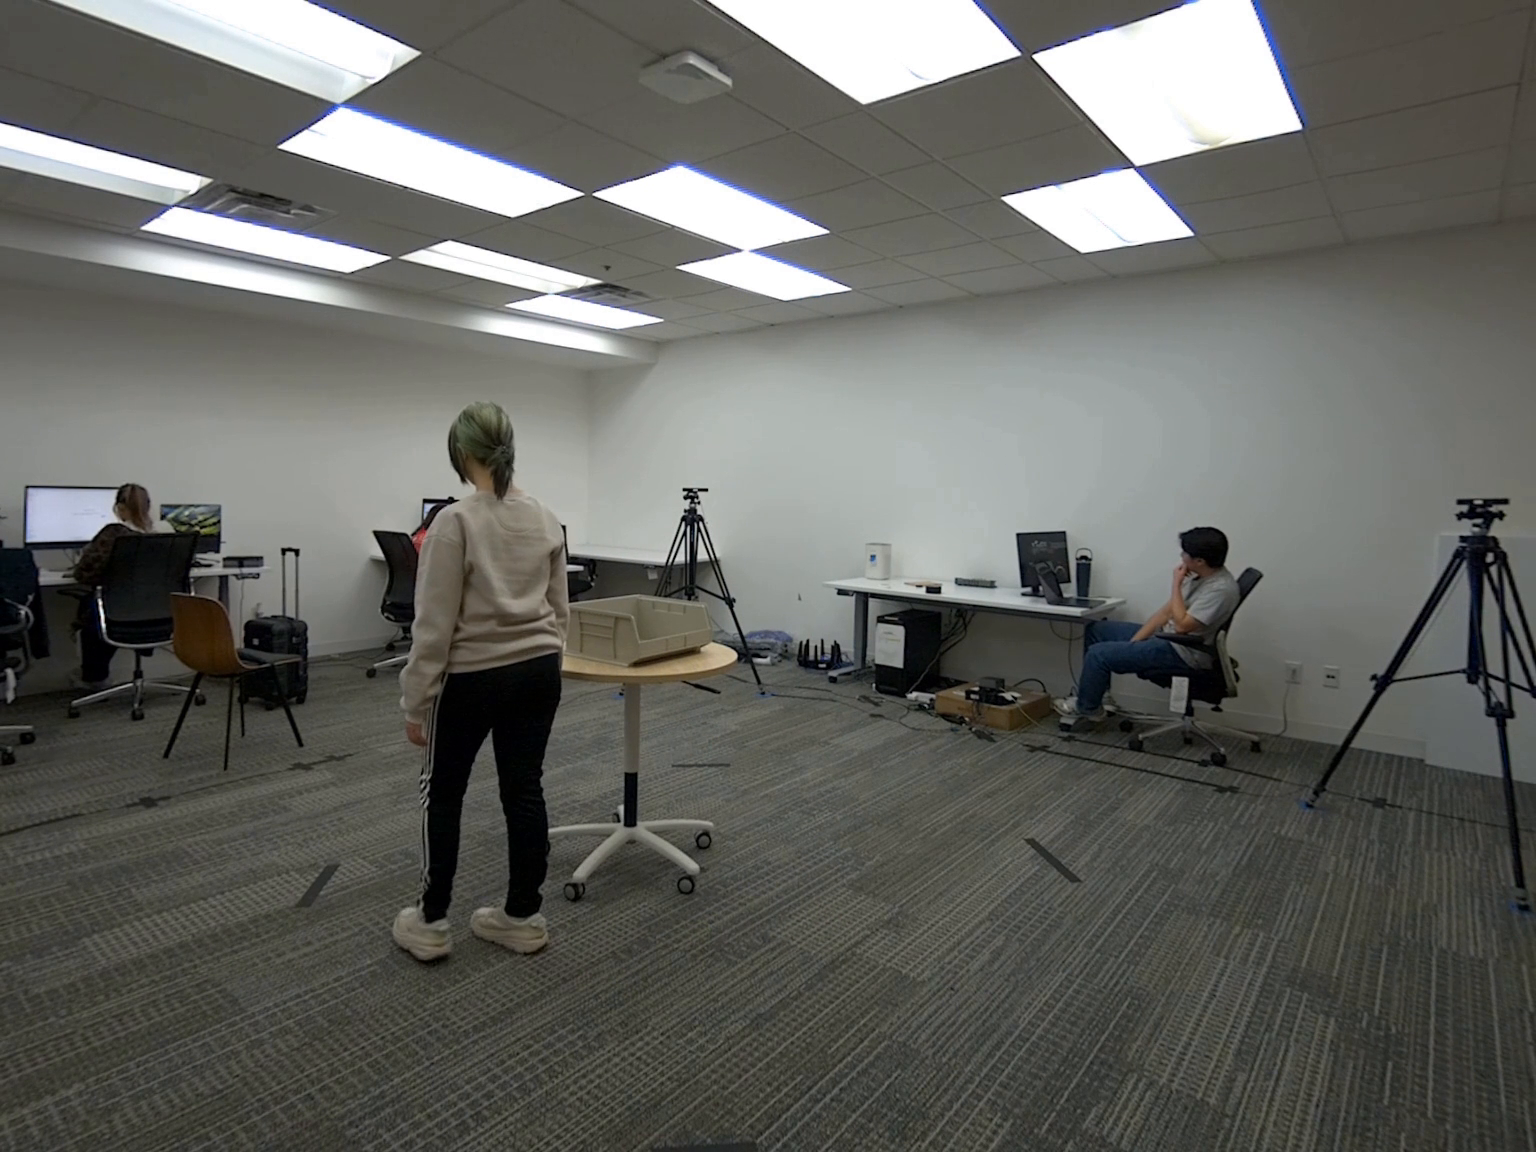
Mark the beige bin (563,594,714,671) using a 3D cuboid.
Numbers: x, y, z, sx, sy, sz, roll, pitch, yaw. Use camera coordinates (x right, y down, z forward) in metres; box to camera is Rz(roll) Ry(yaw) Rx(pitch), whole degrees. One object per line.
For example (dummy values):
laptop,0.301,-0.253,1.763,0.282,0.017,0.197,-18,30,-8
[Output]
beige bin,-0.480,0.193,3.098,0.389,0.188,0.411,4,6,35
